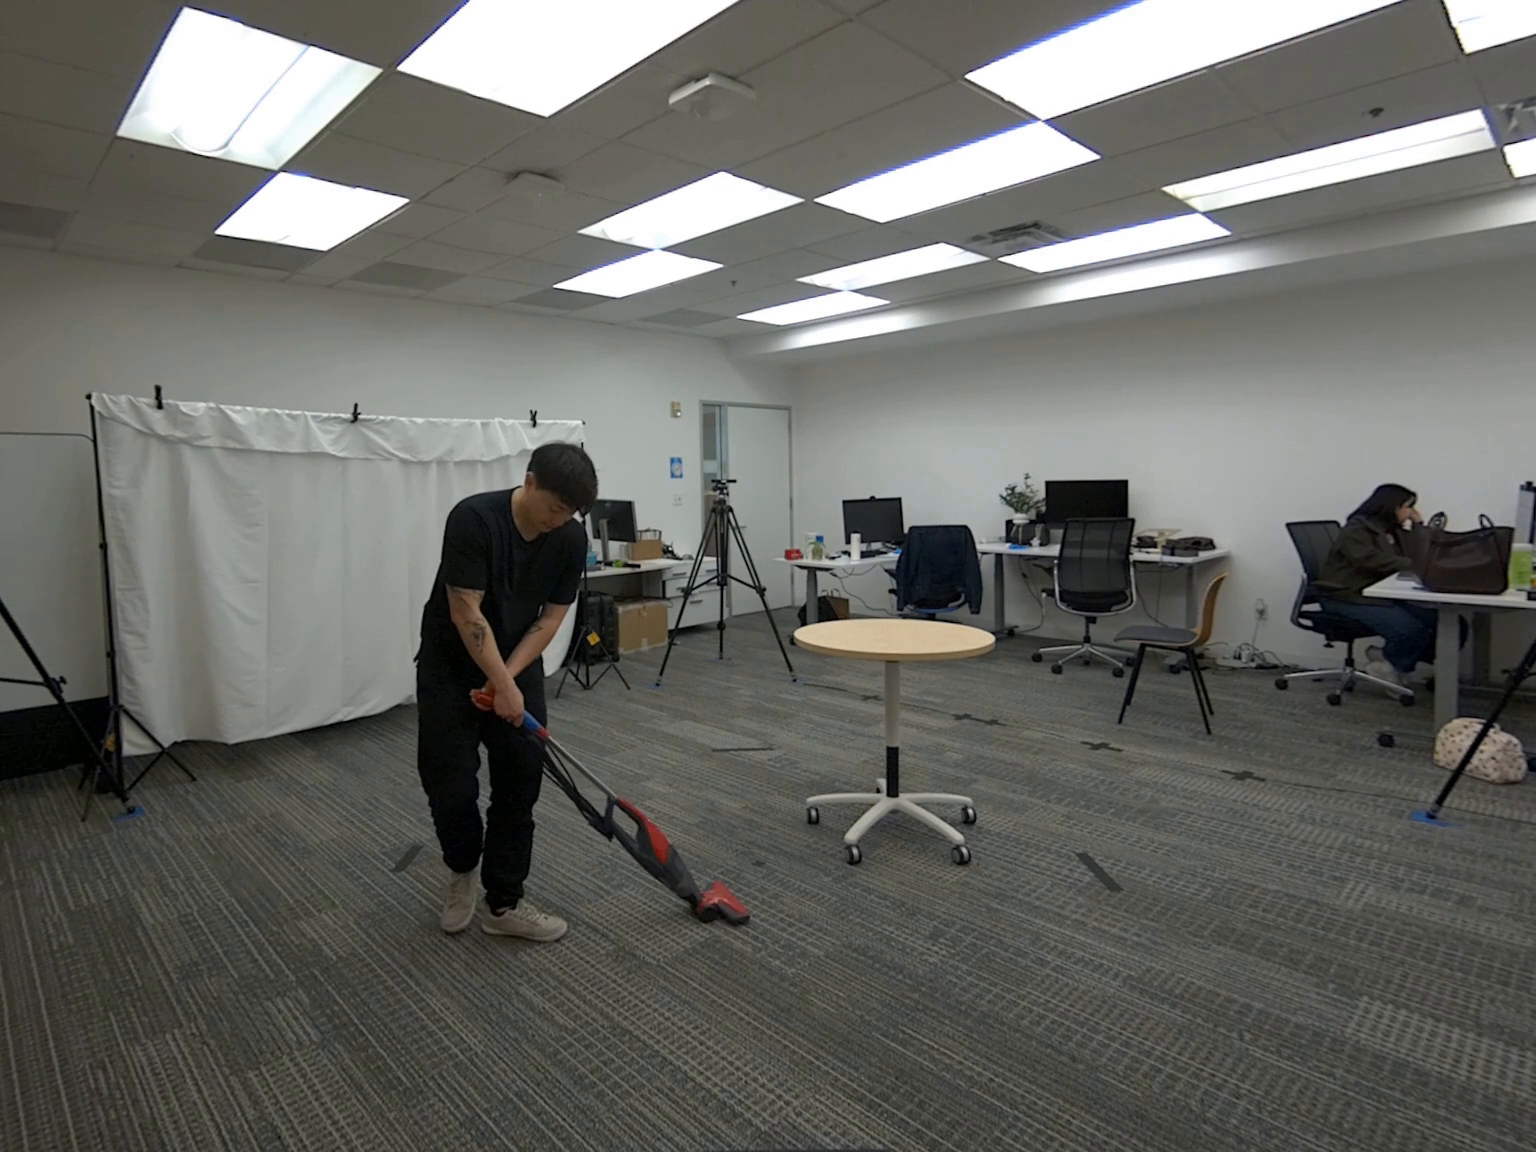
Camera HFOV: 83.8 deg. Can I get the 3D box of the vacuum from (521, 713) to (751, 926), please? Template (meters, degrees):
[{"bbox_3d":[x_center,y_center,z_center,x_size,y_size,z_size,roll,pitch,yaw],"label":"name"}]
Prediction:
[{"bbox_3d":[-0.481,0.719,2.620,0.144,1.024,0.259,-47,20,-14],"label":"vacuum"}]
